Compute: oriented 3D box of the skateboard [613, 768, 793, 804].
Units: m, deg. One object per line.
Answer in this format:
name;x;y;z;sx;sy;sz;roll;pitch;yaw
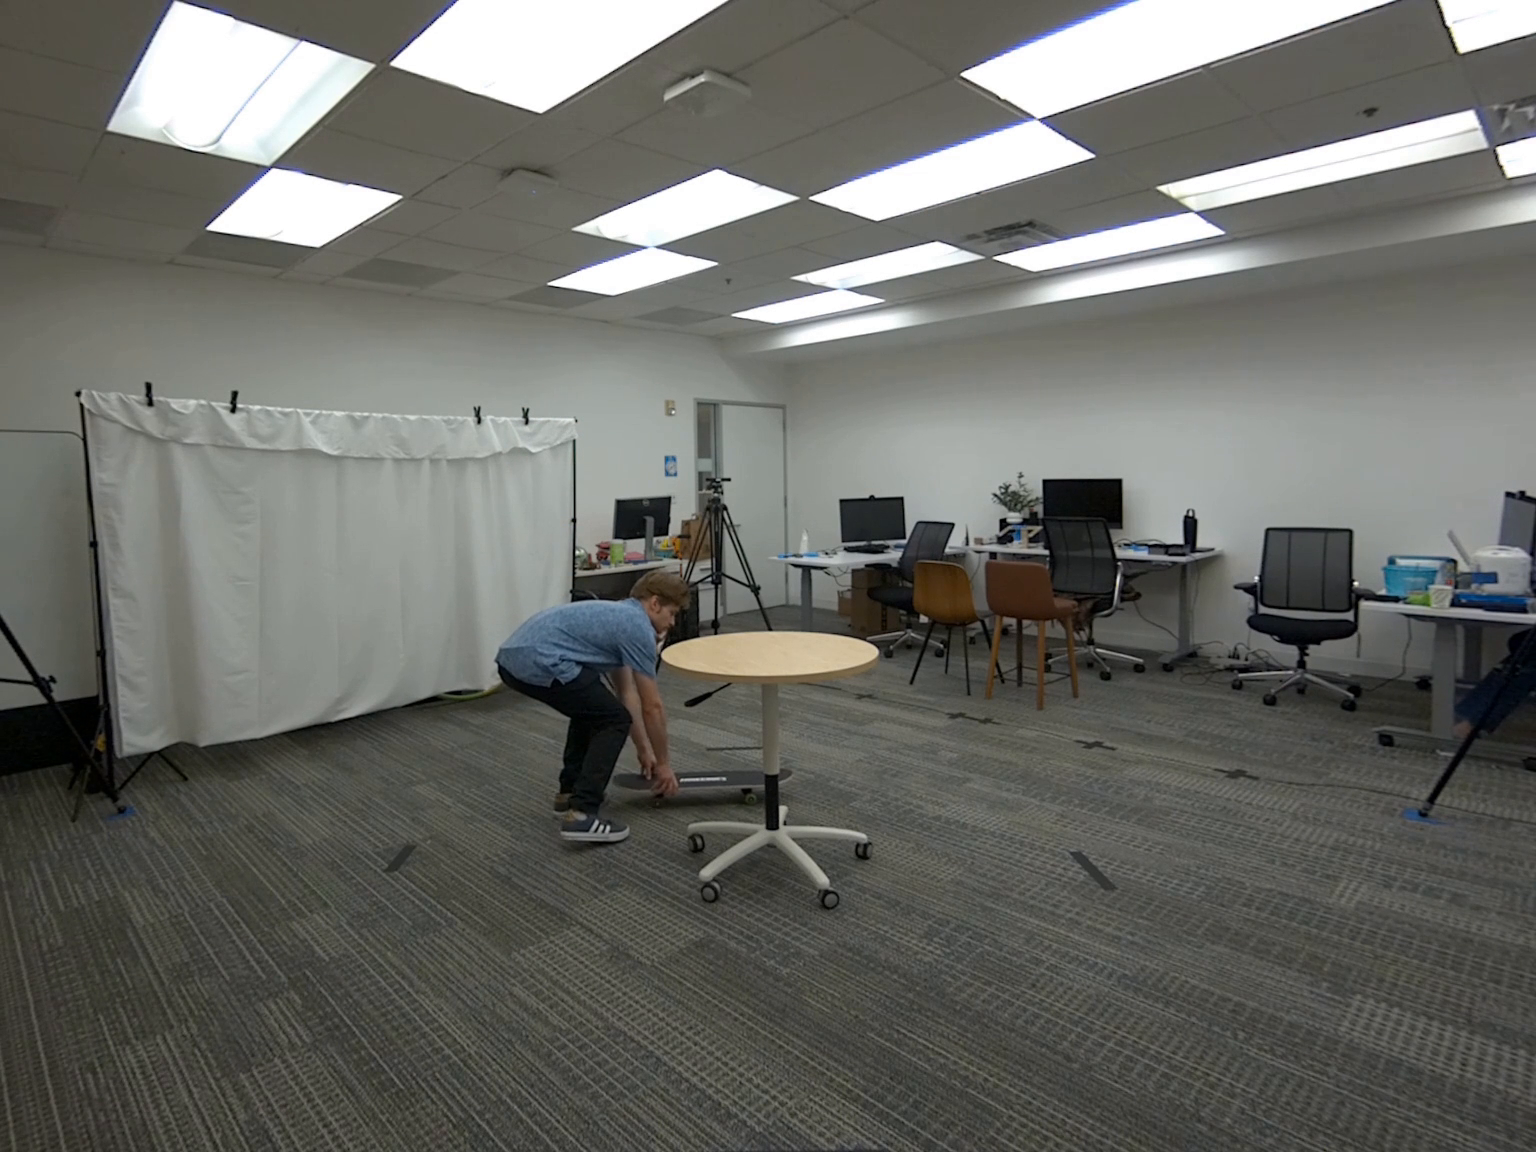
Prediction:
skateboard;-0.281;0.922;3.730;0.784;0.110;0.195;-1;6;-1
